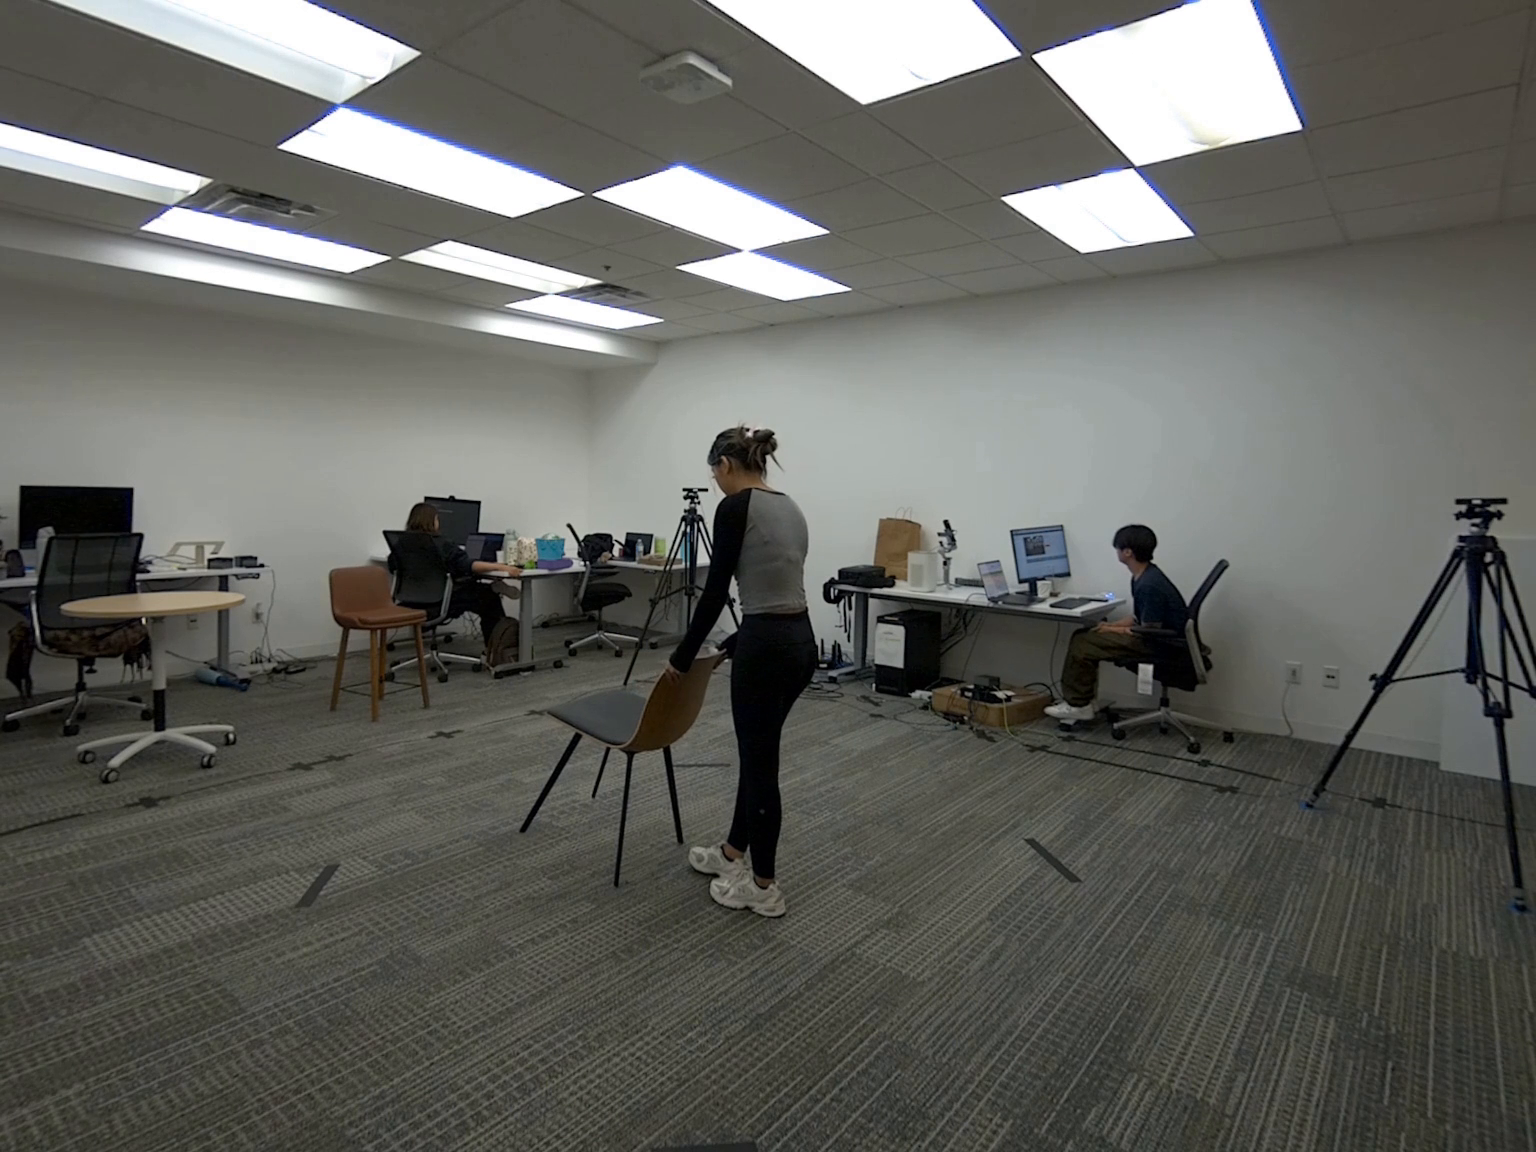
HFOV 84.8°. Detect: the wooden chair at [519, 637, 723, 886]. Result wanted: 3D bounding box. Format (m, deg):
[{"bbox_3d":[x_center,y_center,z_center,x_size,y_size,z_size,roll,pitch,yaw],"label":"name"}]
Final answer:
[{"bbox_3d":[-0.550,0.591,3.180,0.540,0.871,0.466,23,12,25],"label":"wooden chair"}]
